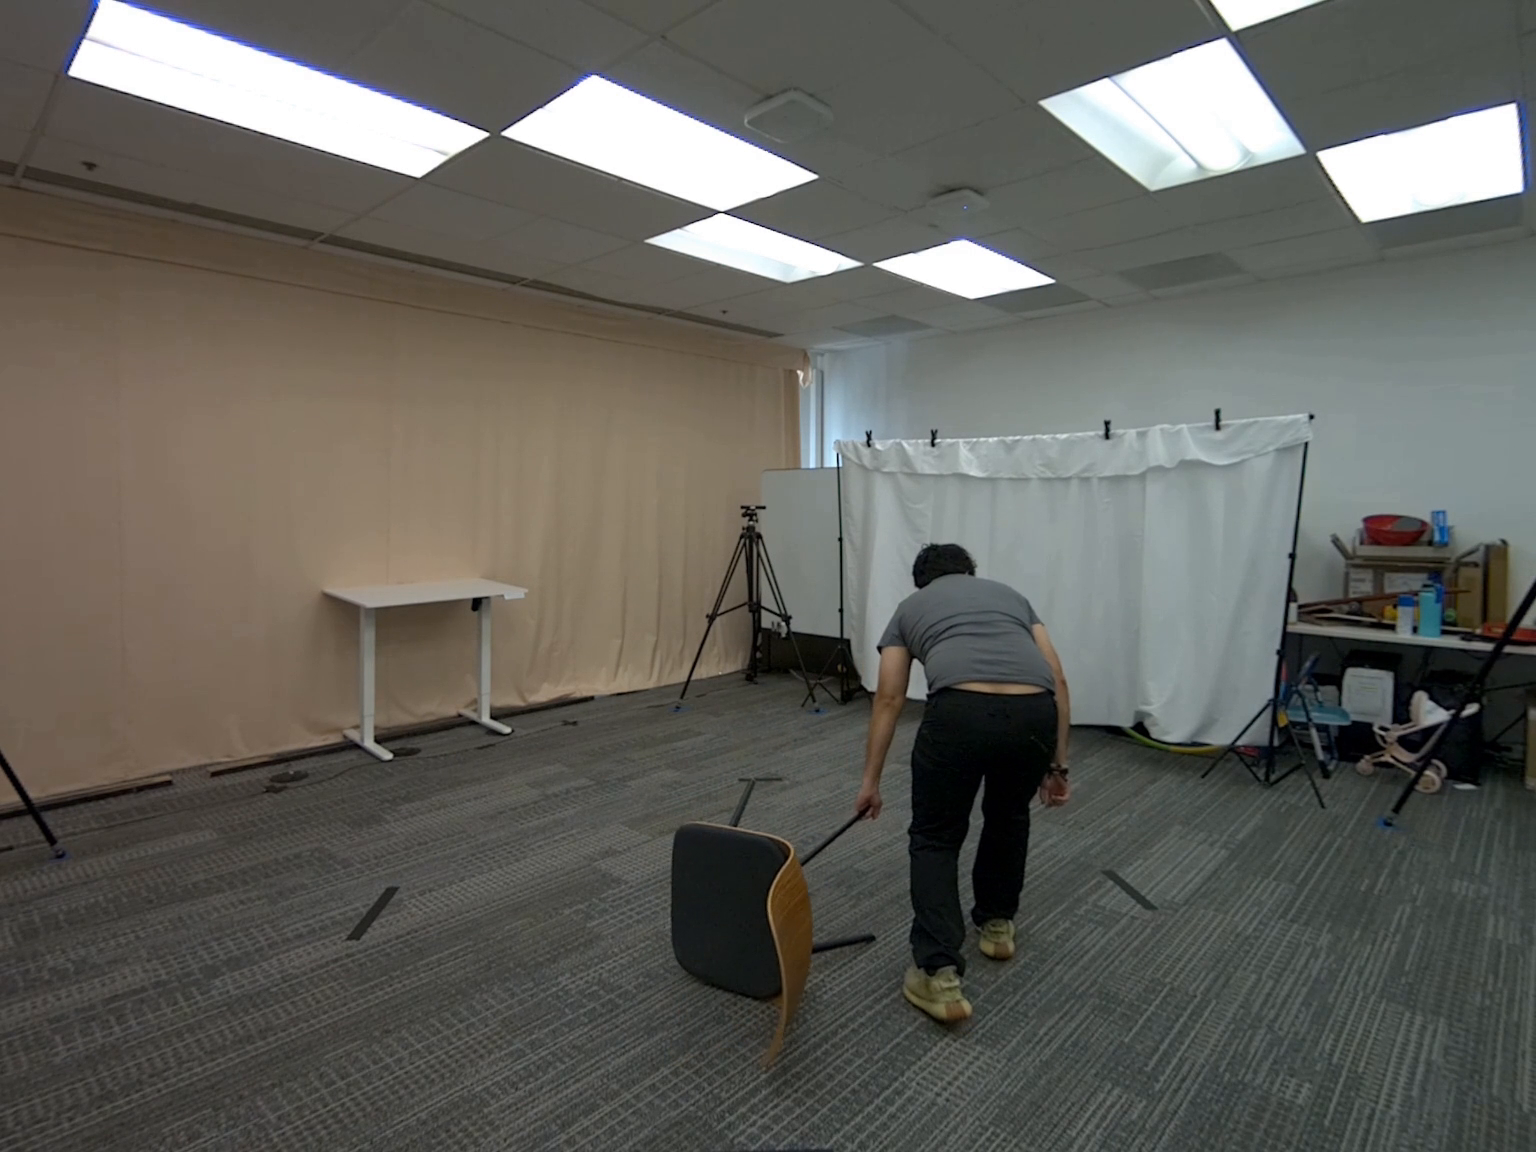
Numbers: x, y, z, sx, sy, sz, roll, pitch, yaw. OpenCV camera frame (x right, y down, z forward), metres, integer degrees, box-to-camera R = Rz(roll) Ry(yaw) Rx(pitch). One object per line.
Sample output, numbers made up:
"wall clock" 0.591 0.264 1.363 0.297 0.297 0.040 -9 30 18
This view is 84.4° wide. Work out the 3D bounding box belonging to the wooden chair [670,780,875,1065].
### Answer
"wooden chair" -0.044 0.962 2.428 0.536 0.477 0.859 2 4 22
